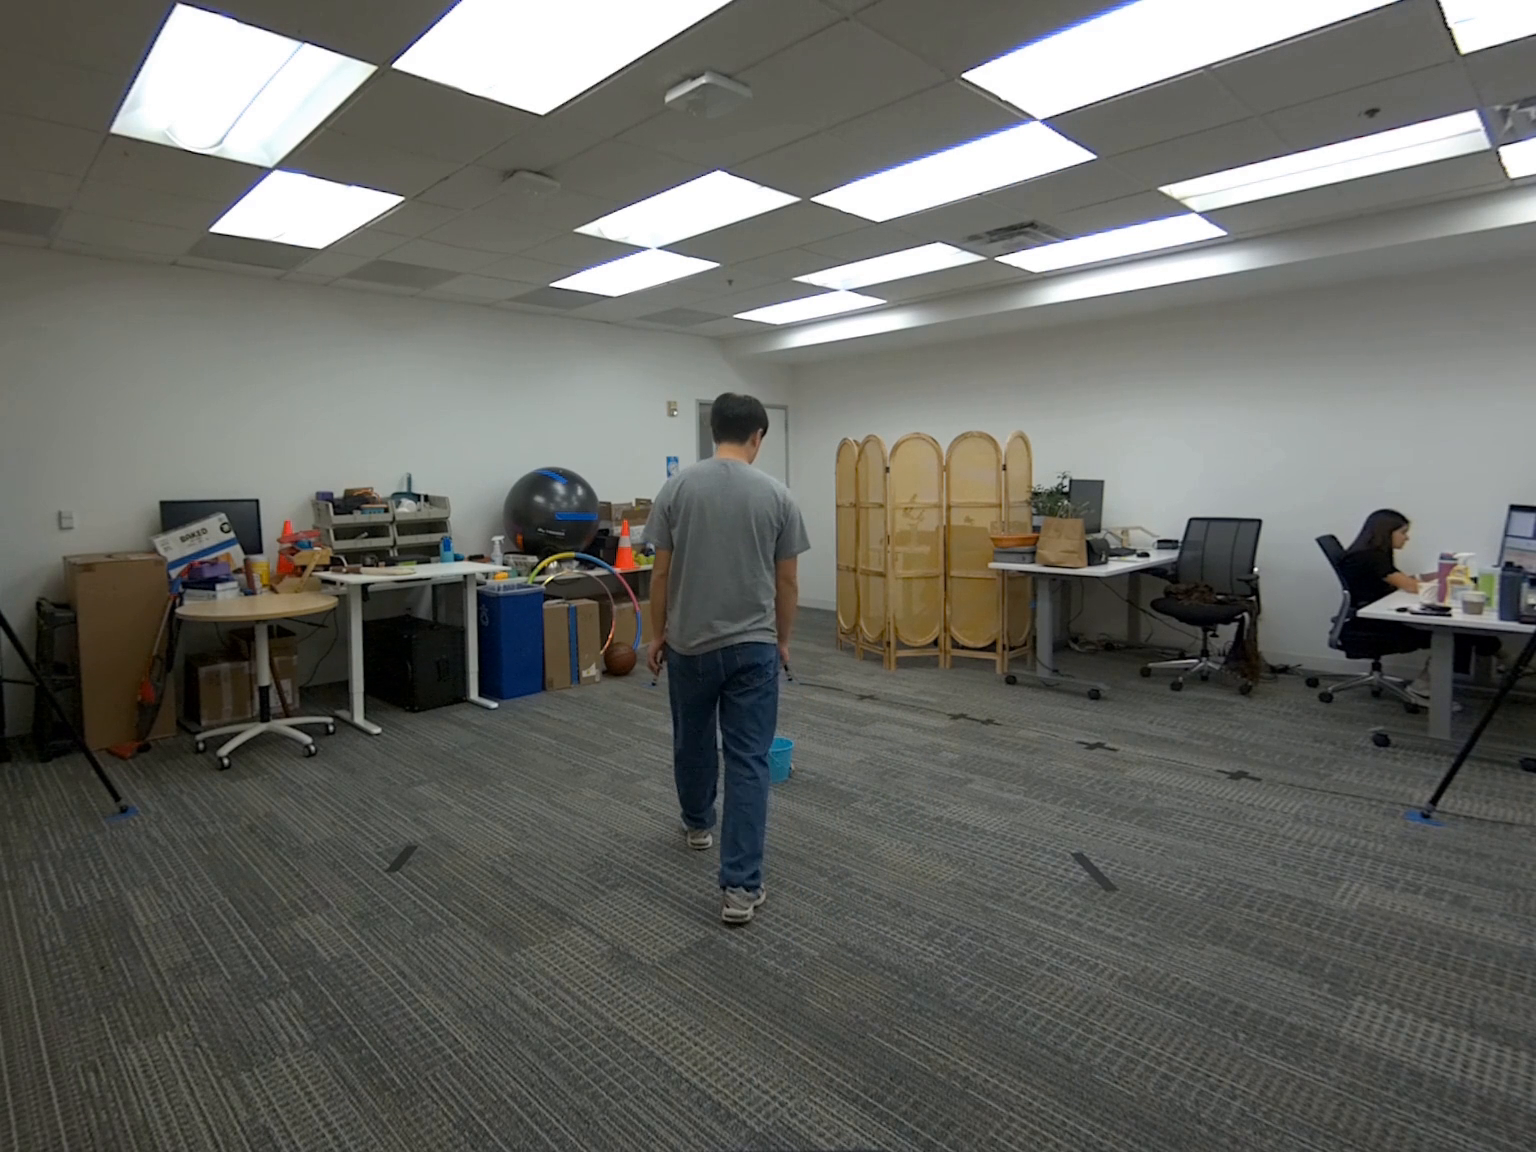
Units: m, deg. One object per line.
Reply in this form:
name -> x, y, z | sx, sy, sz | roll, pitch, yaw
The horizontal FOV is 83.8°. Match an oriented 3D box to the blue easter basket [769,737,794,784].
blue easter basket -> 0.013, 0.866, 4.028 | 0.243, 0.155, 0.245 | -2, 4, -2
